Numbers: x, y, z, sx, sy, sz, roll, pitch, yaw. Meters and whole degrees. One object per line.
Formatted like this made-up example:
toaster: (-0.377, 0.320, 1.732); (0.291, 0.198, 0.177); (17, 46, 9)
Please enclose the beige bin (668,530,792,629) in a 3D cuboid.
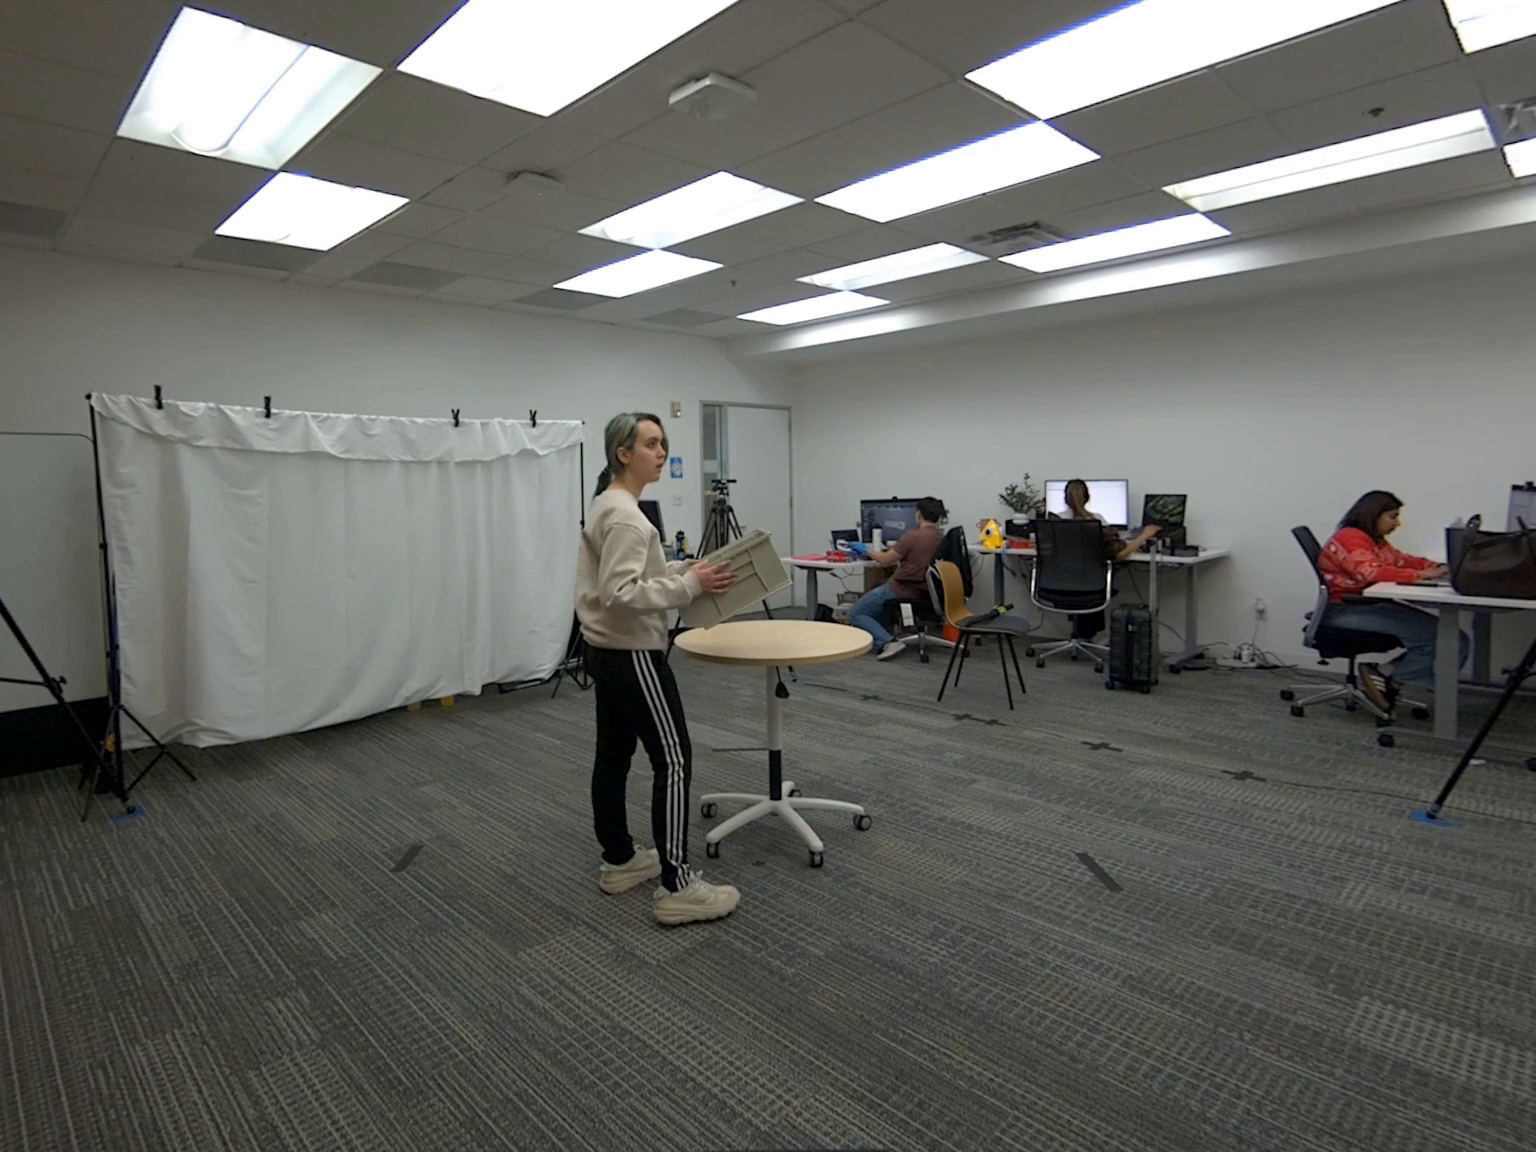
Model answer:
beige bin: (-0.132, 0.015, 2.893); (0.377, 0.188, 0.425); (-27, 6, -2)
